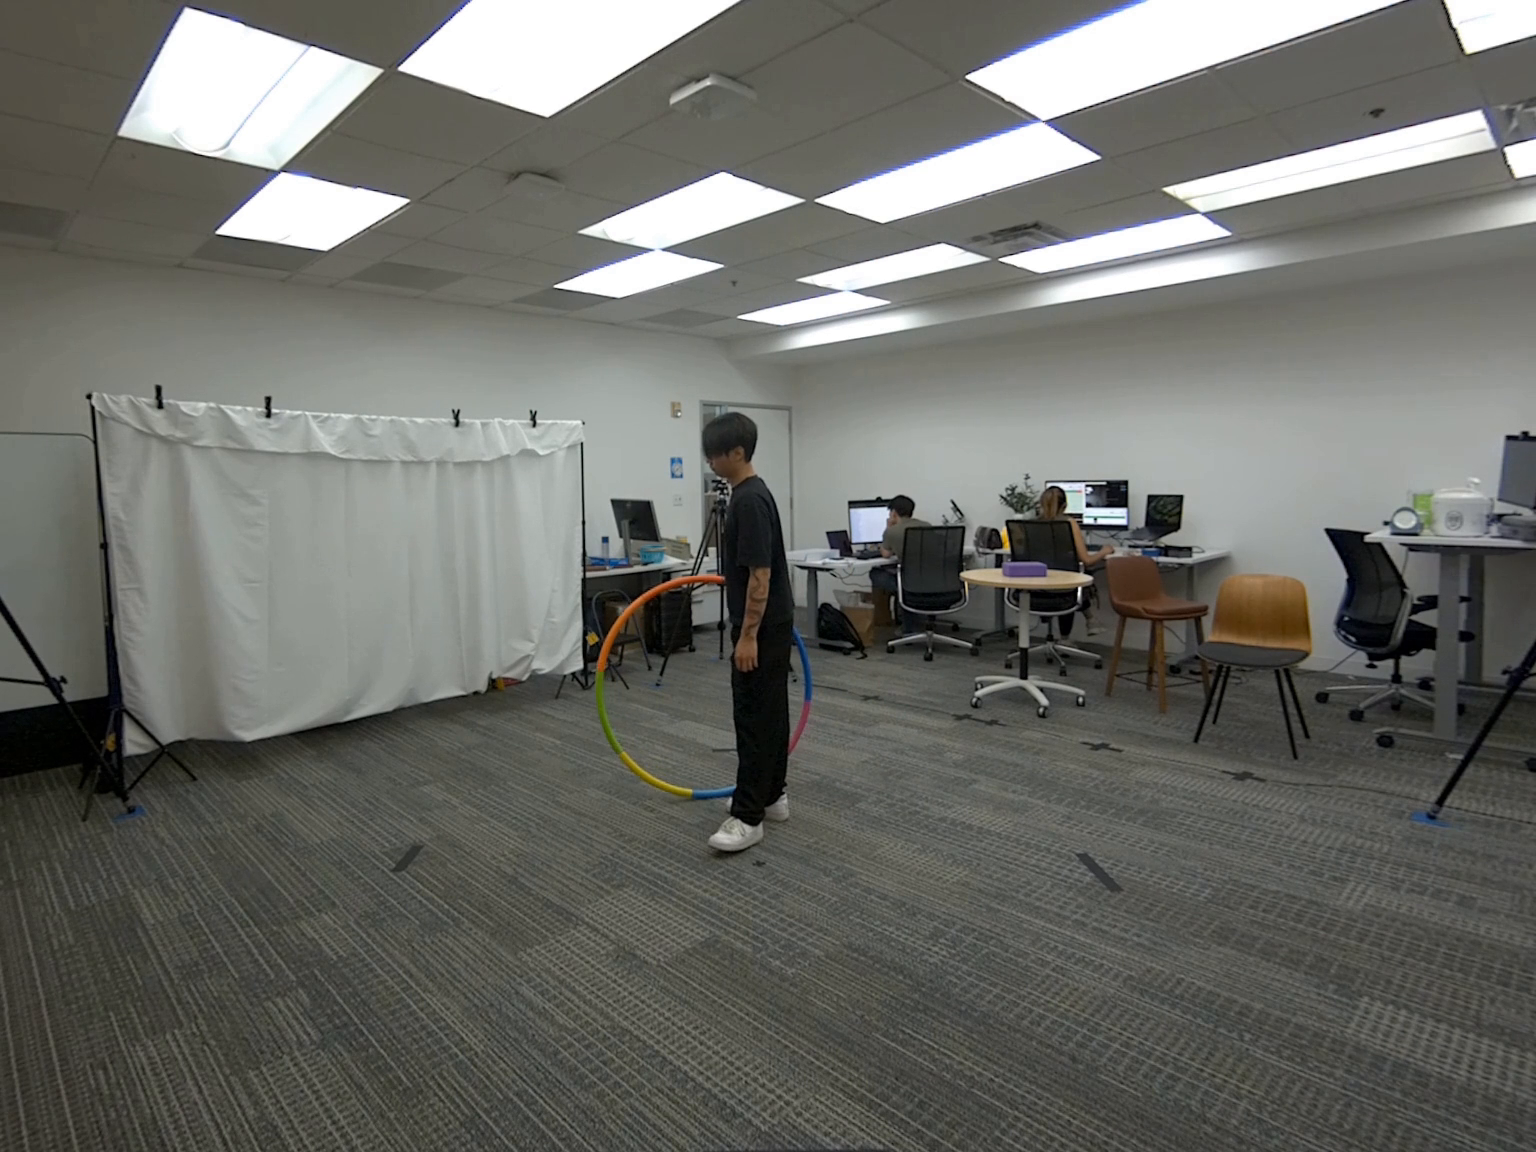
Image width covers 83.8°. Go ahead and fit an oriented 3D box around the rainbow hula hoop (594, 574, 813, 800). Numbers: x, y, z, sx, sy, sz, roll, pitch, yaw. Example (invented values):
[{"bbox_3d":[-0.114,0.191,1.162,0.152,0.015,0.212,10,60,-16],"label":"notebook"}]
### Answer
[{"bbox_3d":[-0.274,0.494,3.826,0.968,0.983,0.036,-2,-5,-11],"label":"rainbow hula hoop"}]
